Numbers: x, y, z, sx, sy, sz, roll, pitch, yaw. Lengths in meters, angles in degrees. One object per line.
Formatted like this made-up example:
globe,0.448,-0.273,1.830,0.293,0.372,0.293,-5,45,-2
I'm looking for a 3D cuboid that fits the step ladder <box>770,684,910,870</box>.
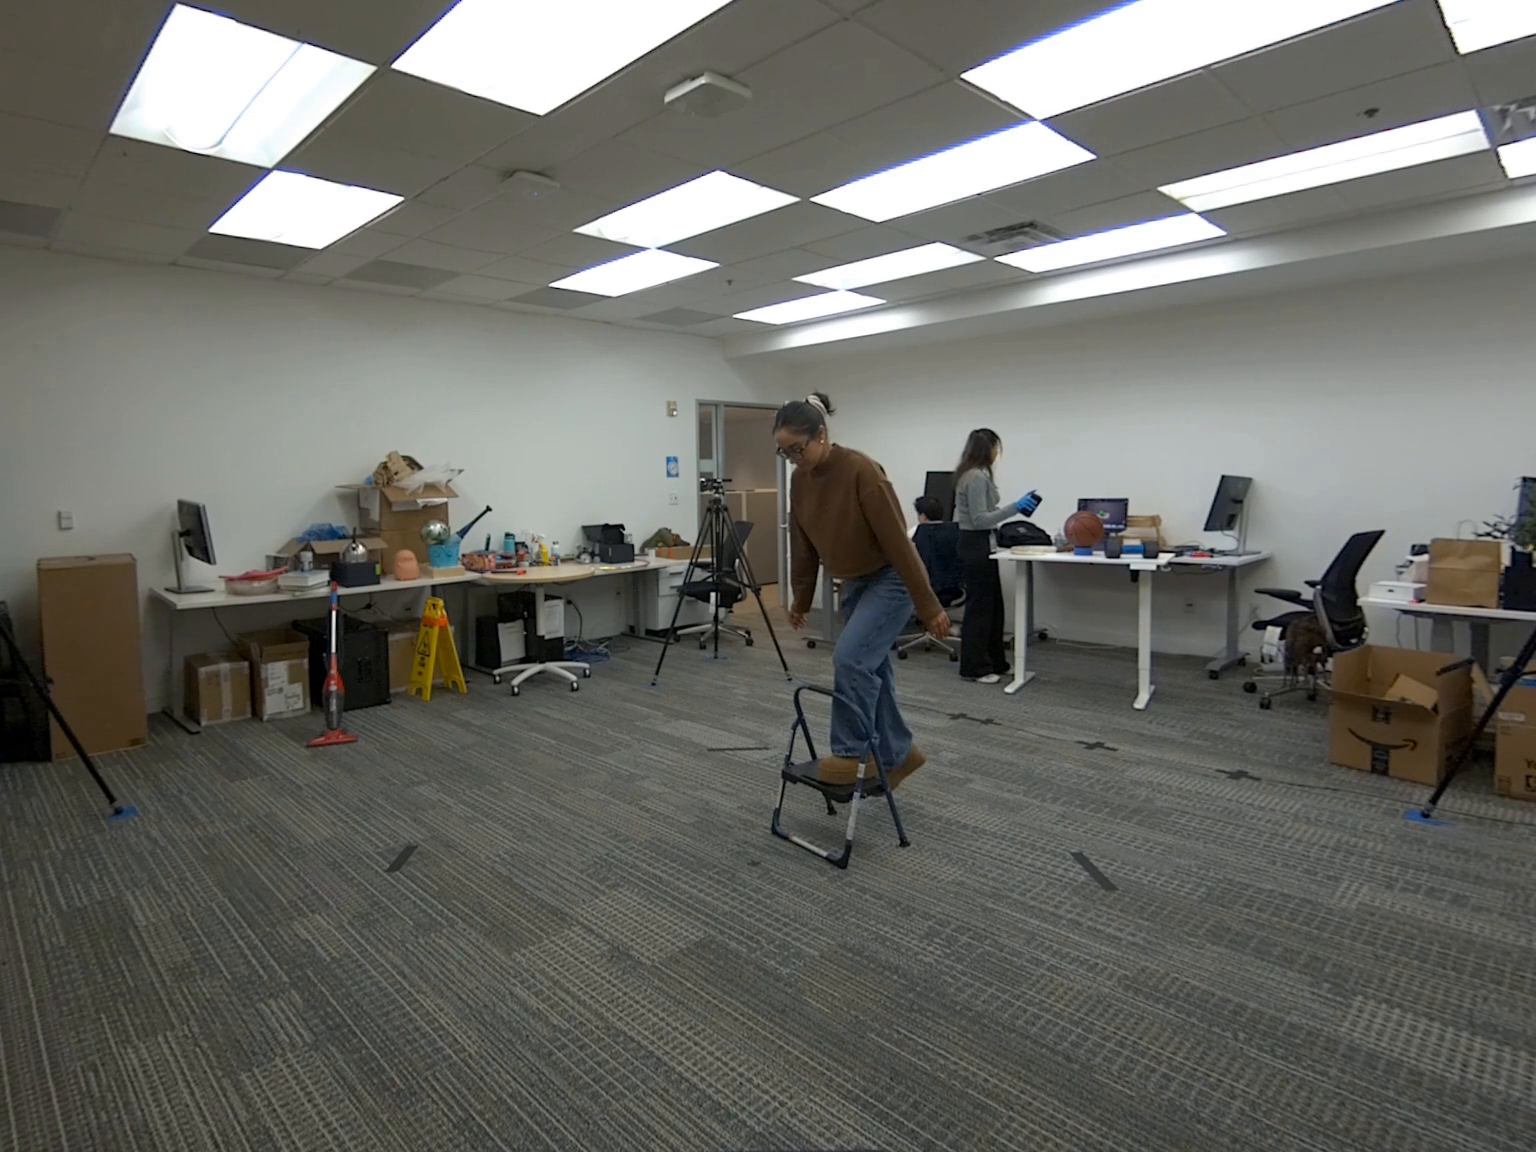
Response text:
step ladder,0.269,0.717,3.285,0.340,0.603,0.444,-5,6,-38
